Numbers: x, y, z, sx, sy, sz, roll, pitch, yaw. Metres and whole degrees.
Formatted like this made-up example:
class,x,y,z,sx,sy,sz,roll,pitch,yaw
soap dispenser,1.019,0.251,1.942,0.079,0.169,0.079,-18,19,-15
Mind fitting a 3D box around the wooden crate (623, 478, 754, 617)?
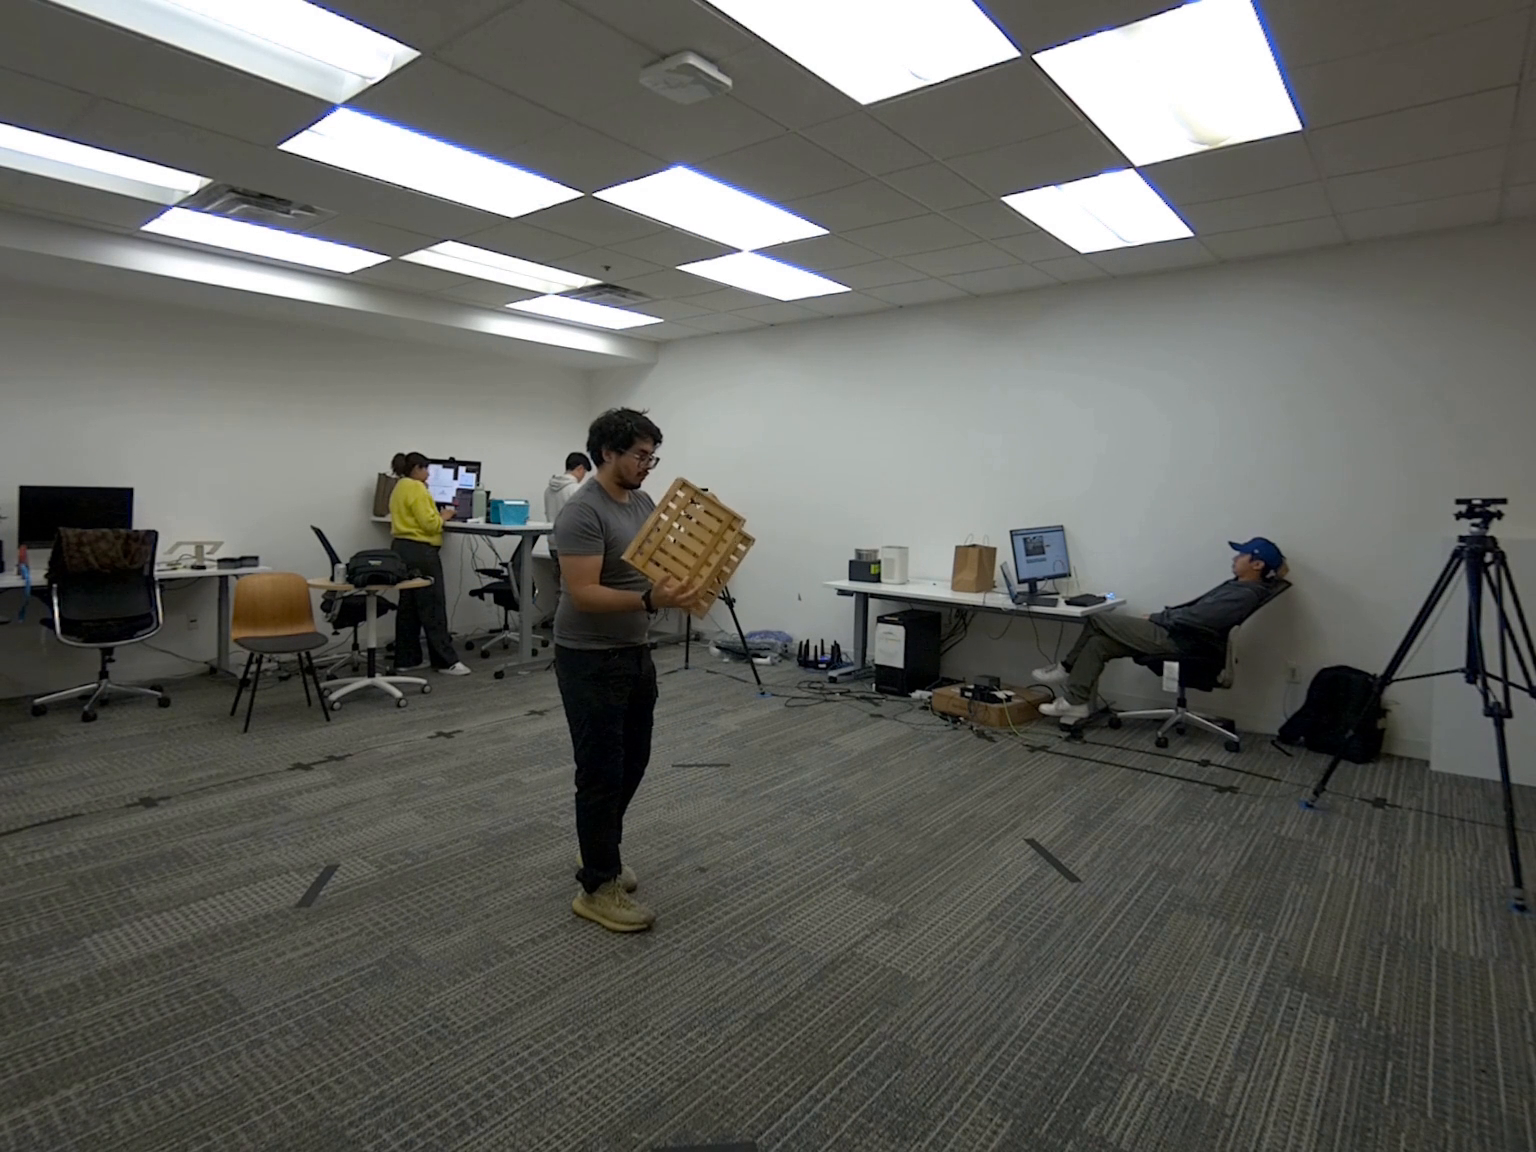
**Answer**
class,x,y,z,sx,sy,sz,roll,pitch,yaw
wooden crate,-0.250,-0.078,2.643,0.304,0.325,0.271,34,-10,3
